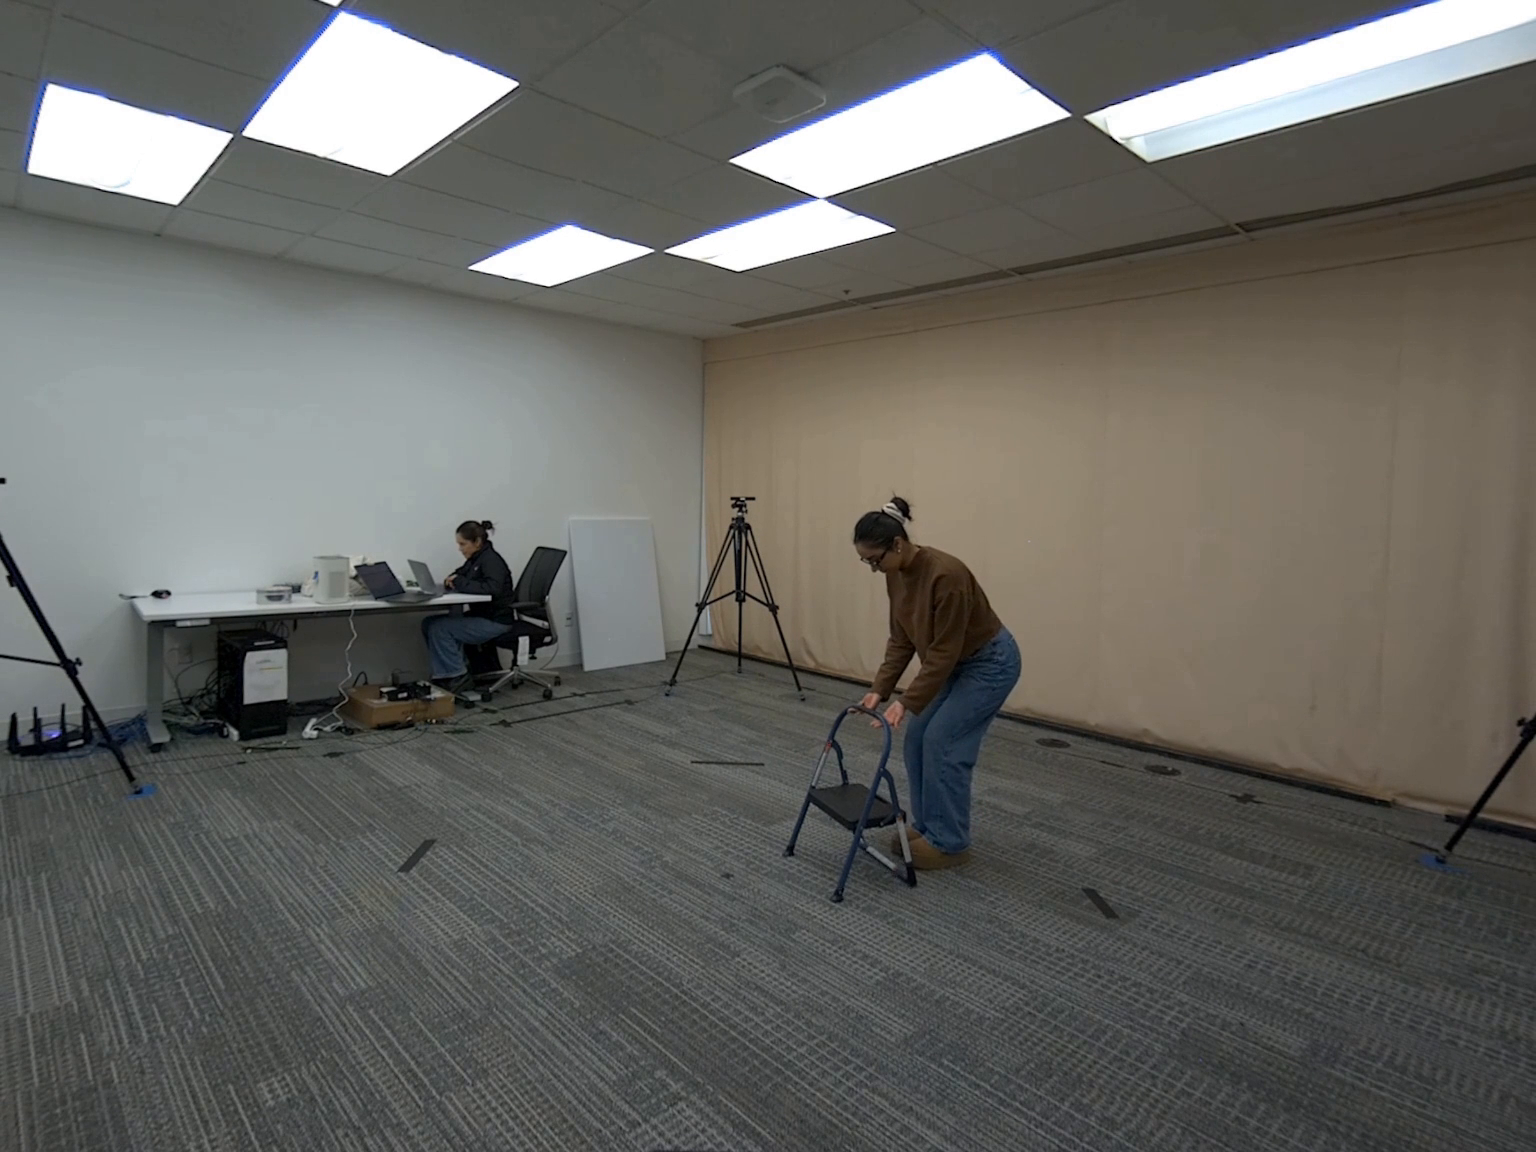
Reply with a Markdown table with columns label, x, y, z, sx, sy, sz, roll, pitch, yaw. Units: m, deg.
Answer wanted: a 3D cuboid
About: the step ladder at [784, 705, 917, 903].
| label | x | y | z | sx | sy | sz | roll | pitch | yaw |
| --- | --- | --- | --- | --- | --- | --- | --- | --- | --- |
| step ladder | 0.302 | 0.801 | 3.151 | 0.343 | 0.604 | 0.439 | -1 | 4 | -24 |
